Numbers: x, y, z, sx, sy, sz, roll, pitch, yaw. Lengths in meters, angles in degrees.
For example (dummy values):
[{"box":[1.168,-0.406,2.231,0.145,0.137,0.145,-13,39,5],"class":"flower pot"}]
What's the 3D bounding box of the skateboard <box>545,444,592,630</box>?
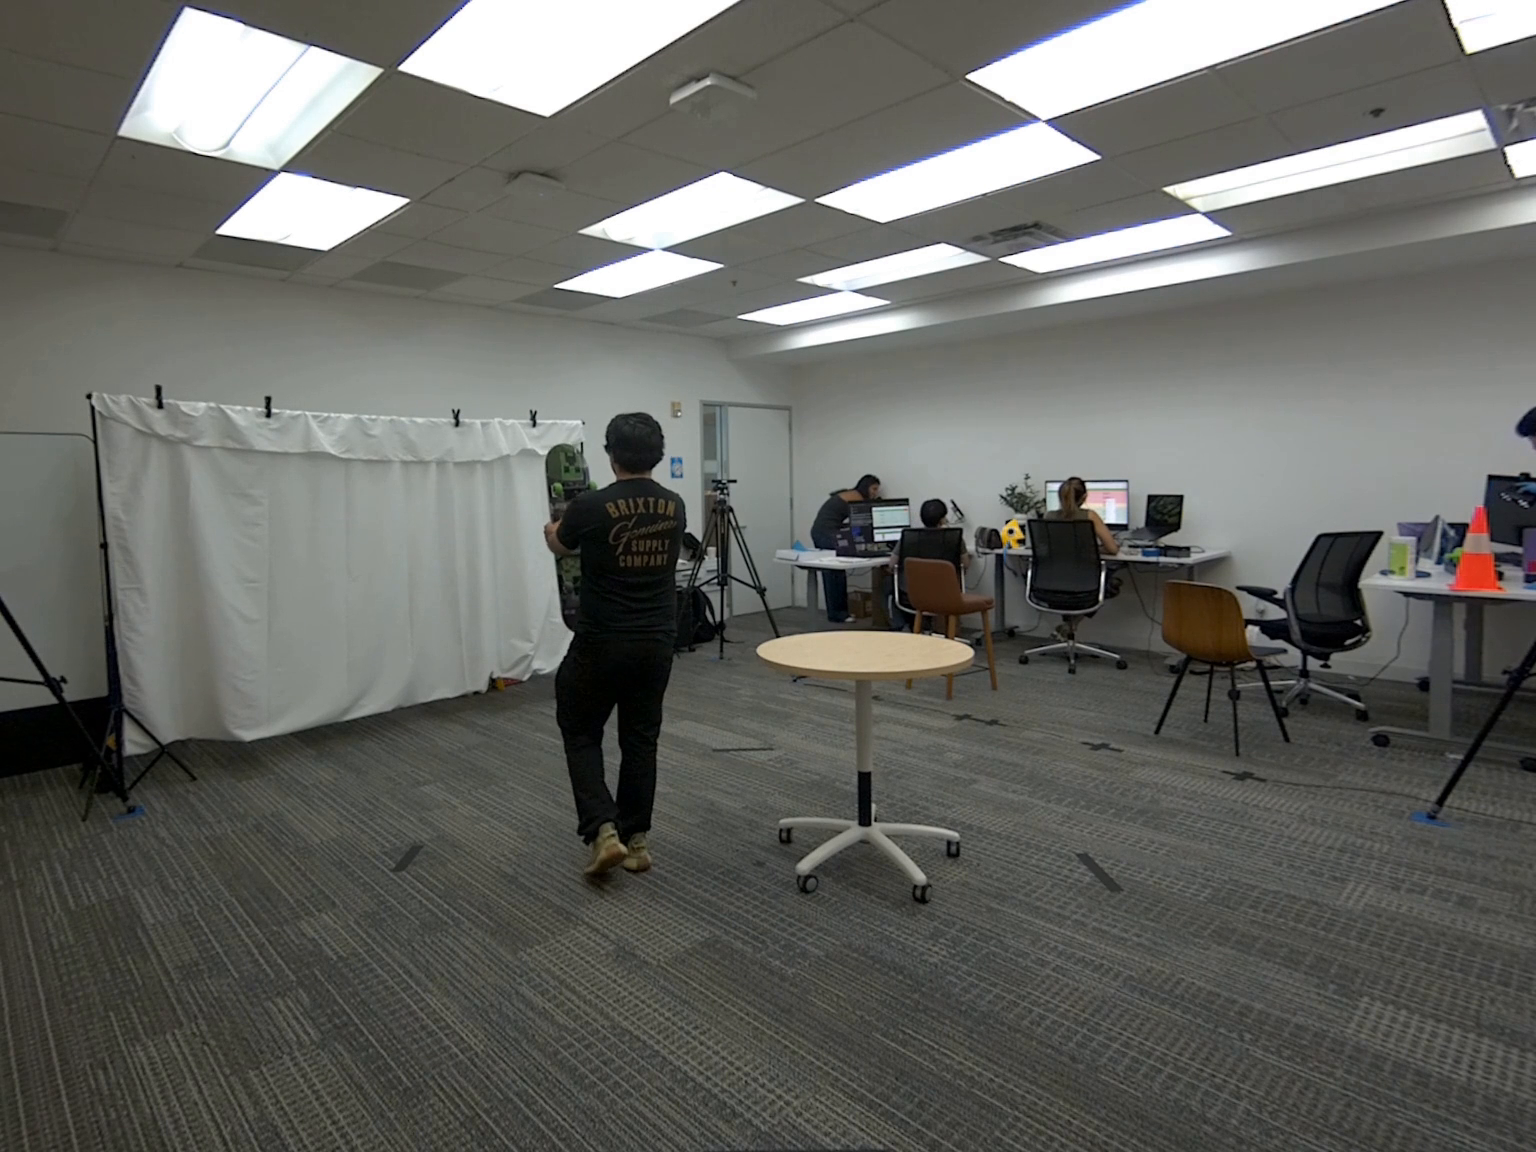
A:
[{"box":[-0.780,-0.153,3.501,0.189,0.786,0.113,-6,0,-35],"class":"skateboard"}]
